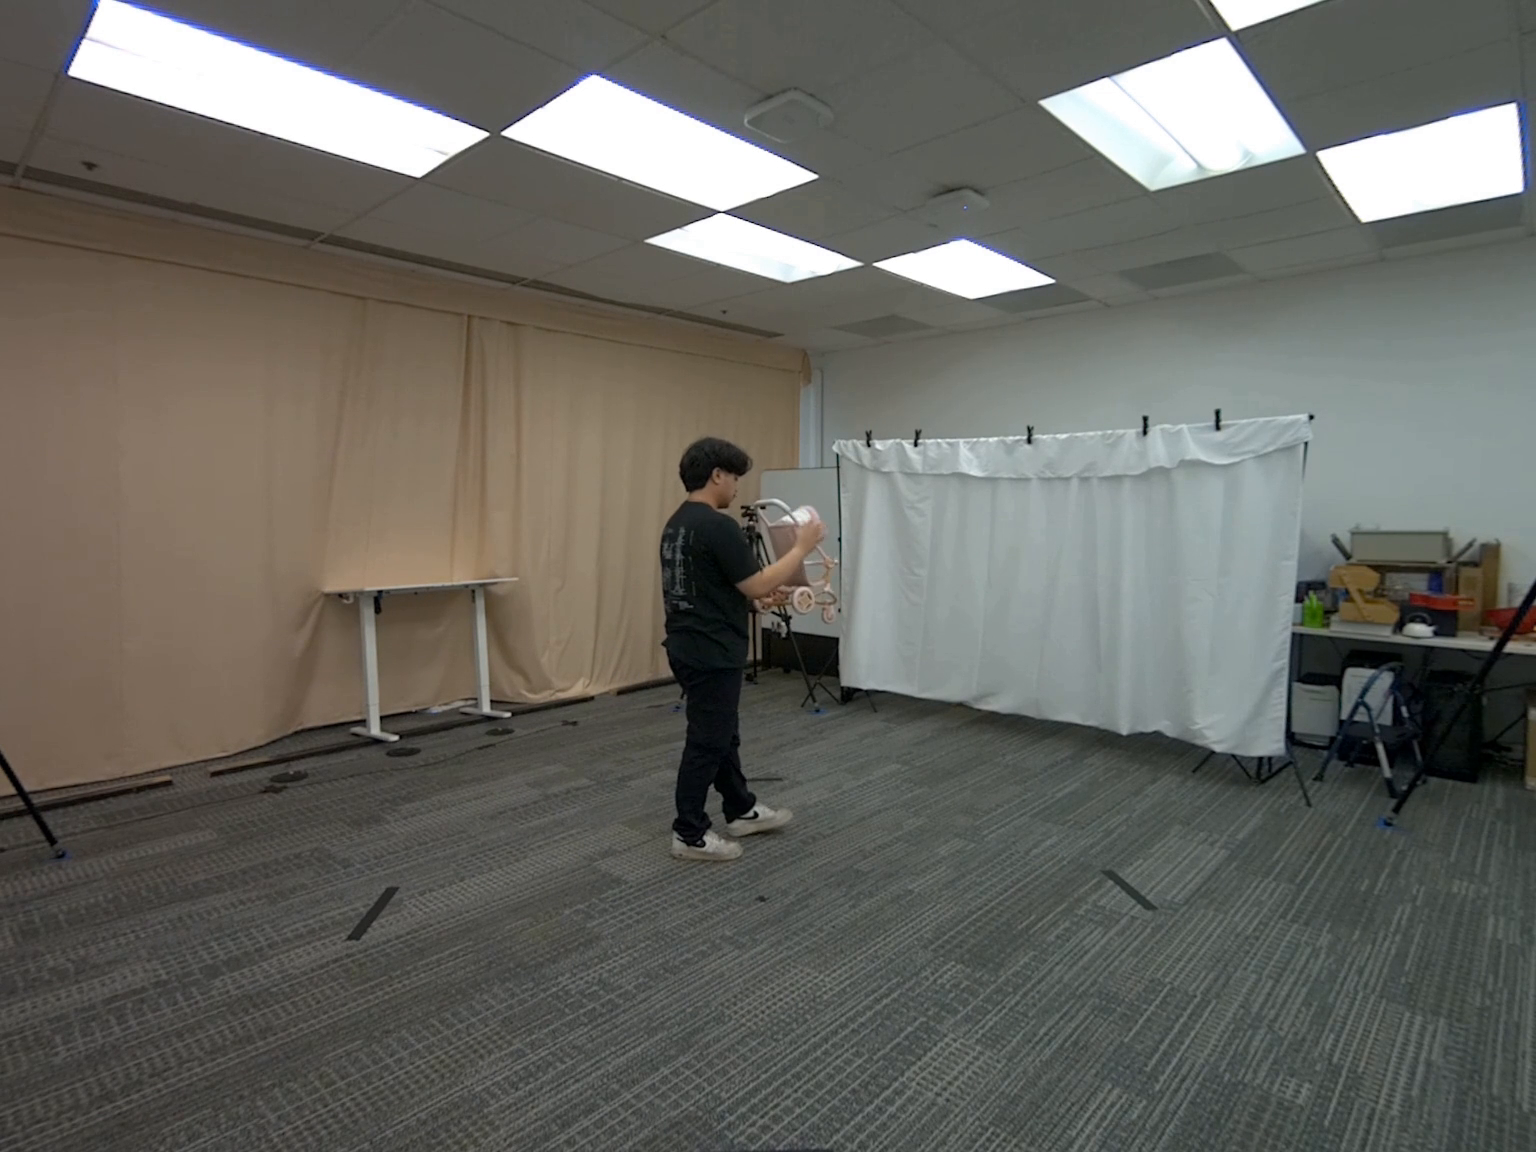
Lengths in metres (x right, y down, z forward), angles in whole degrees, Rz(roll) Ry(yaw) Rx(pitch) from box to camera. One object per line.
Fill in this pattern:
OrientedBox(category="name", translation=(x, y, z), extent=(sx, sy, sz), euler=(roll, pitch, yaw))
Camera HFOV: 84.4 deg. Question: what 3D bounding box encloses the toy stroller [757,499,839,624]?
OrientedBox(category="toy stroller", translation=(0.142, -0.055, 3.510), extent=(0.332, 0.536, 0.289), euler=(-3, -2, -32))
